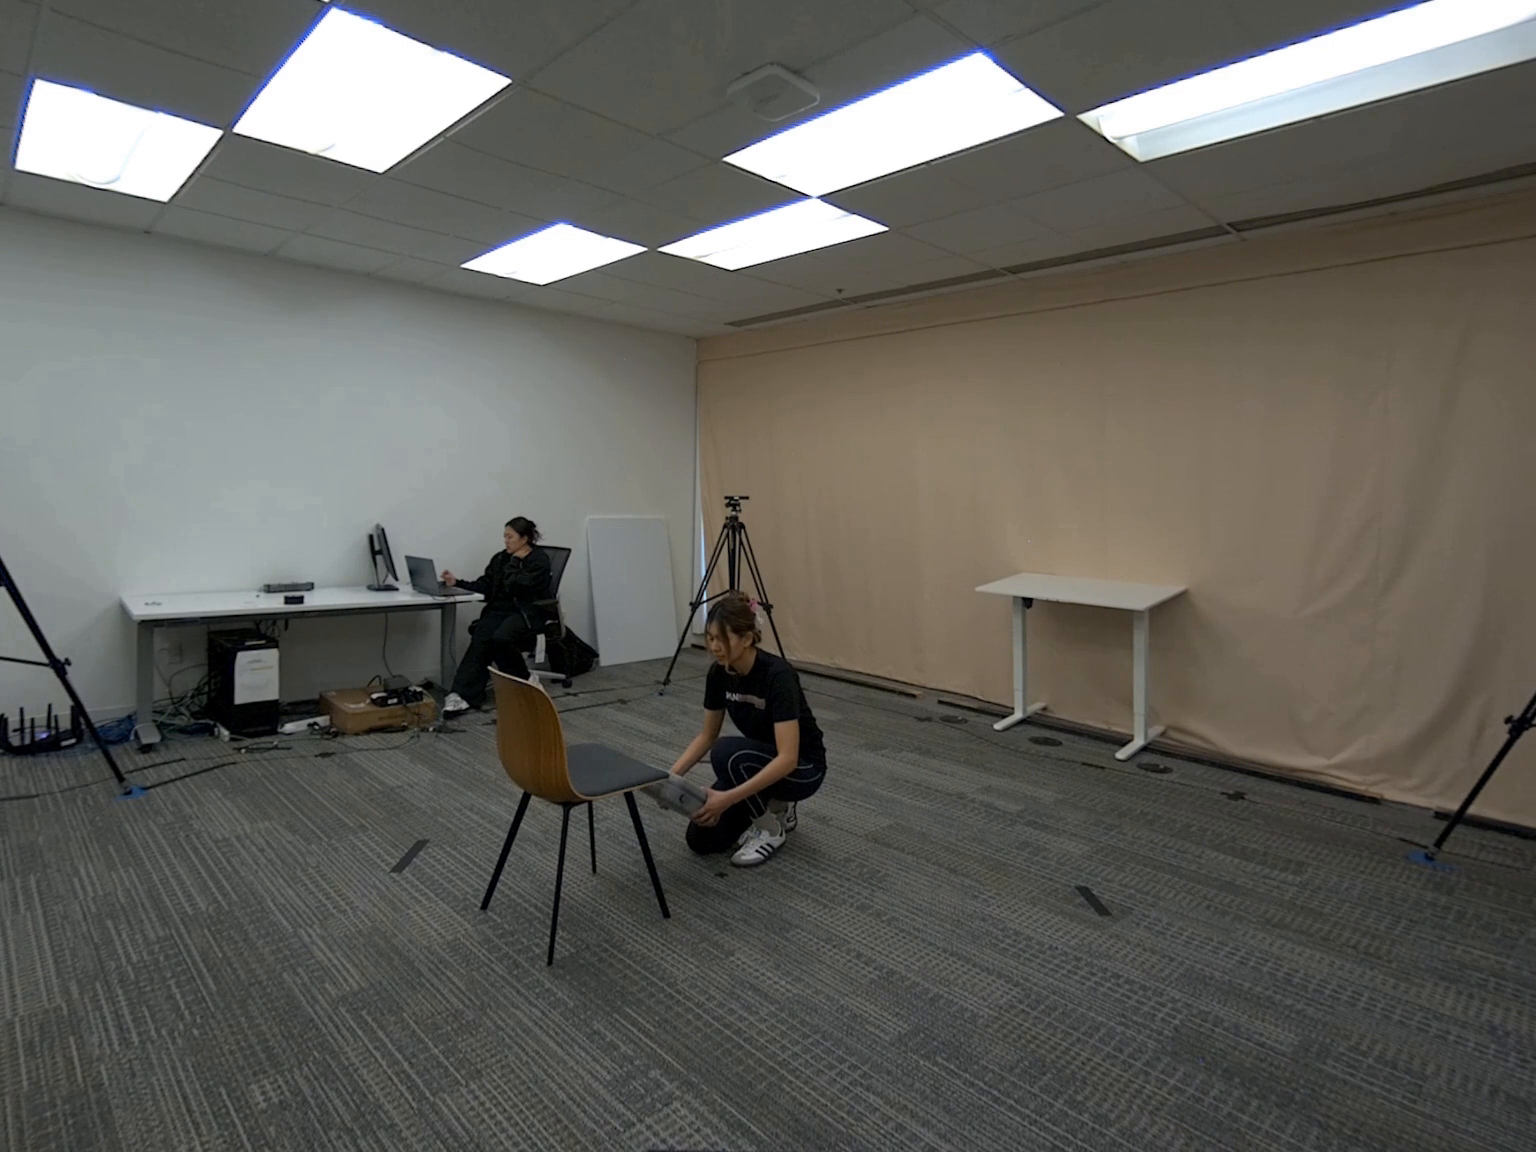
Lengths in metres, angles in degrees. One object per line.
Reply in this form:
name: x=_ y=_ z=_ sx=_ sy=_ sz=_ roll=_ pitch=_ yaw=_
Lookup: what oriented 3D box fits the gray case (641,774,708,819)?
gray case: x=-0.333 y=0.788 z=3.059 sx=0.253 sy=0.105 sz=0.263 roll=37 pitch=-20 yaw=-30
